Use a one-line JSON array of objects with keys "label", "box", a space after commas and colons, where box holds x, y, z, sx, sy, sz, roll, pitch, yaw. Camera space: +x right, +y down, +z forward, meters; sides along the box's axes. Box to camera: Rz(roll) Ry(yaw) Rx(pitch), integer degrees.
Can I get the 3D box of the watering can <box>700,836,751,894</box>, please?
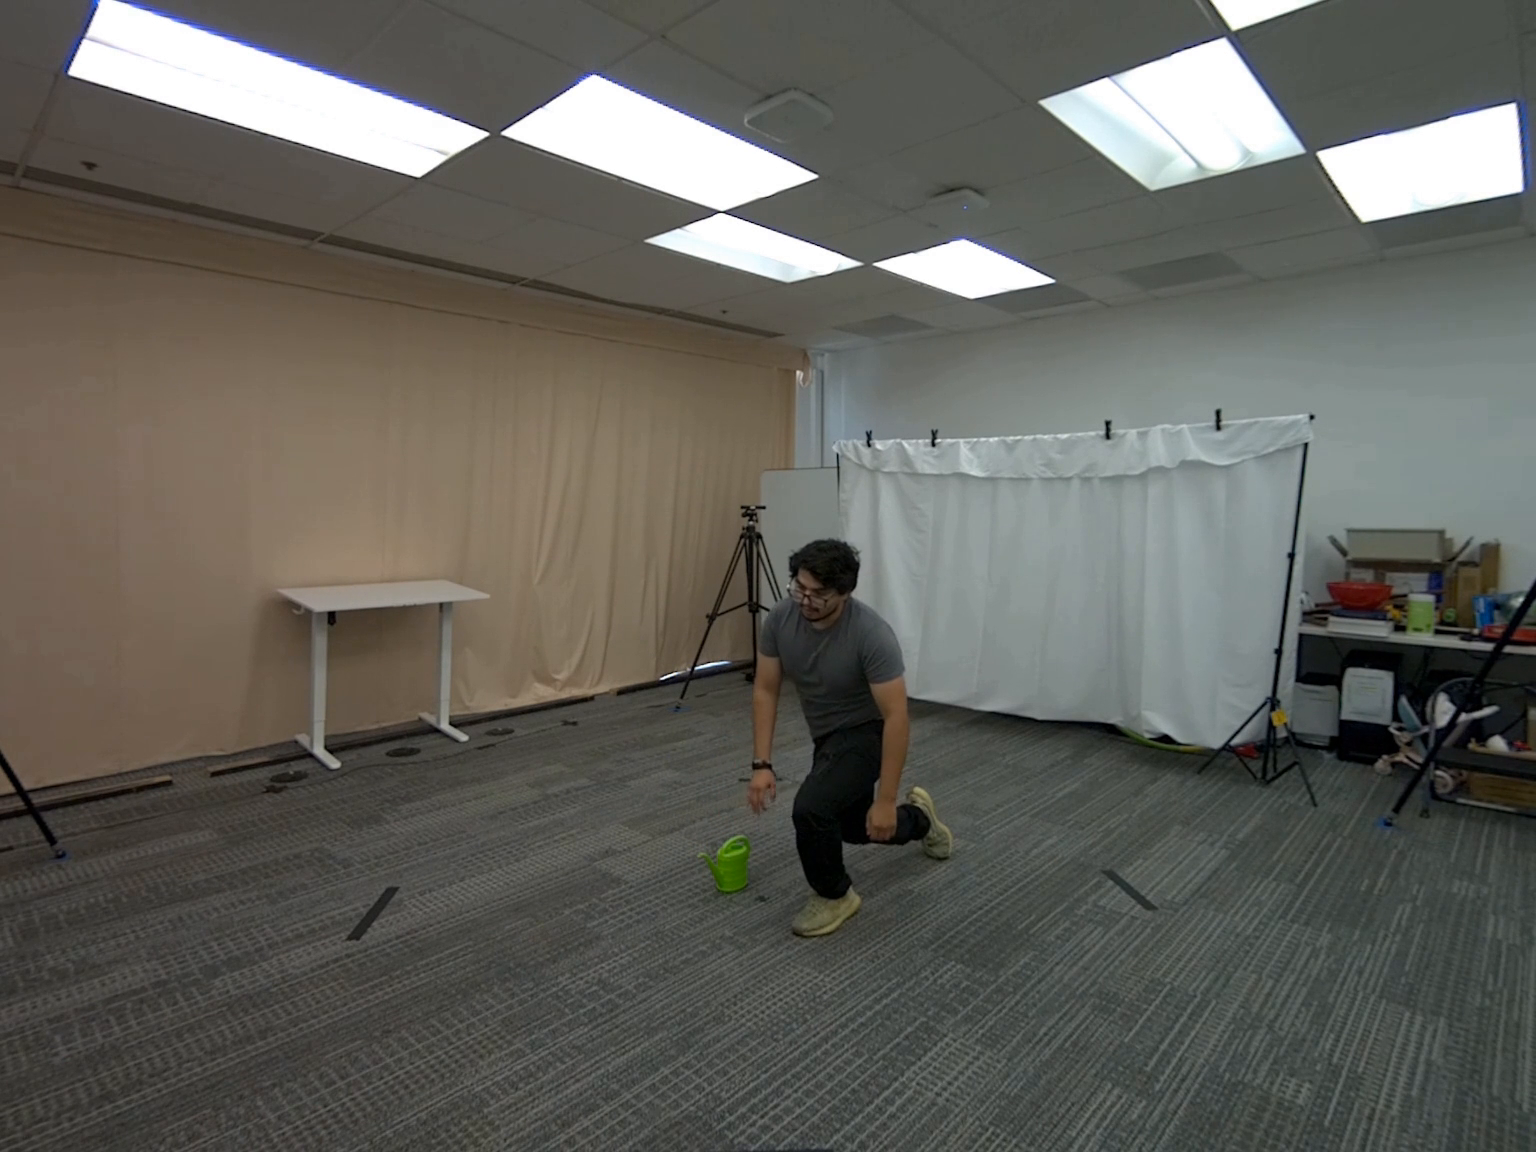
[{"label": "watering can", "box": [-0.164, 1.050, 3.056, 0.270, 0.177, 0.101, -1, 2, -36]}]
